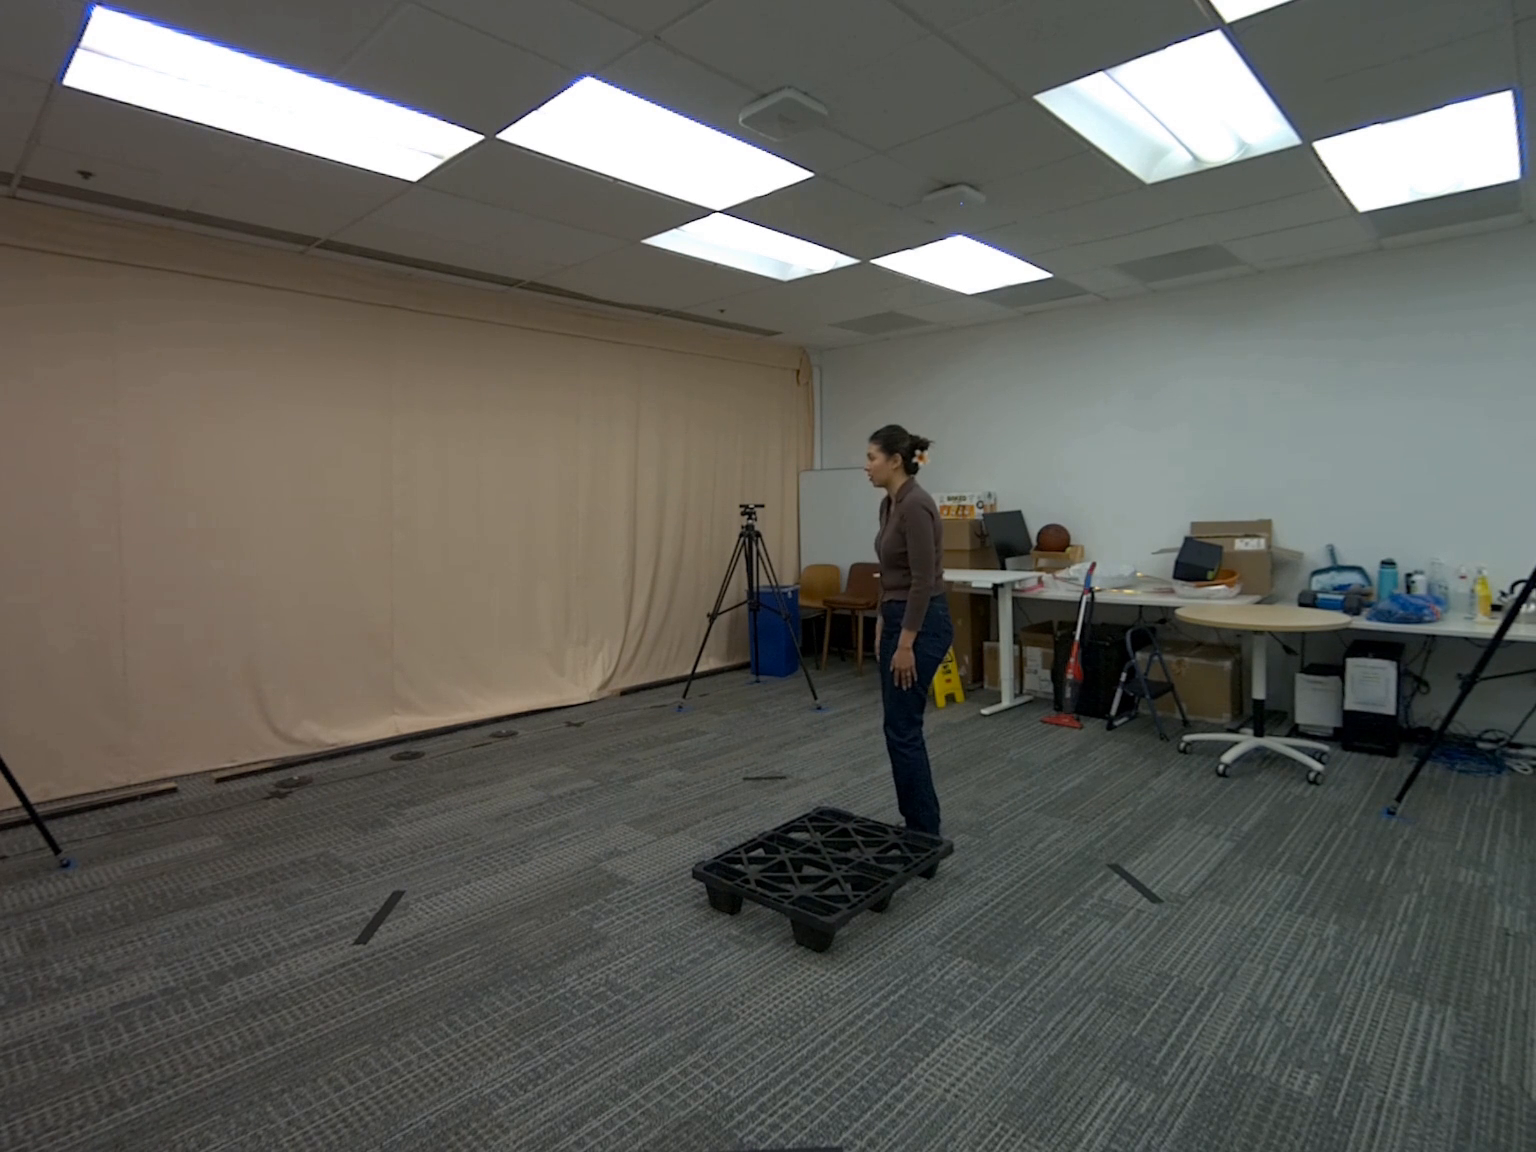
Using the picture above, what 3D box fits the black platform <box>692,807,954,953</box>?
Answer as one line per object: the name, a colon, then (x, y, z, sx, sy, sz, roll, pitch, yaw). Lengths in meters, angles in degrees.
black platform: (0.217, 1.065, 3.021, 0.625, 0.143, 0.782, 4, 7, 40)
